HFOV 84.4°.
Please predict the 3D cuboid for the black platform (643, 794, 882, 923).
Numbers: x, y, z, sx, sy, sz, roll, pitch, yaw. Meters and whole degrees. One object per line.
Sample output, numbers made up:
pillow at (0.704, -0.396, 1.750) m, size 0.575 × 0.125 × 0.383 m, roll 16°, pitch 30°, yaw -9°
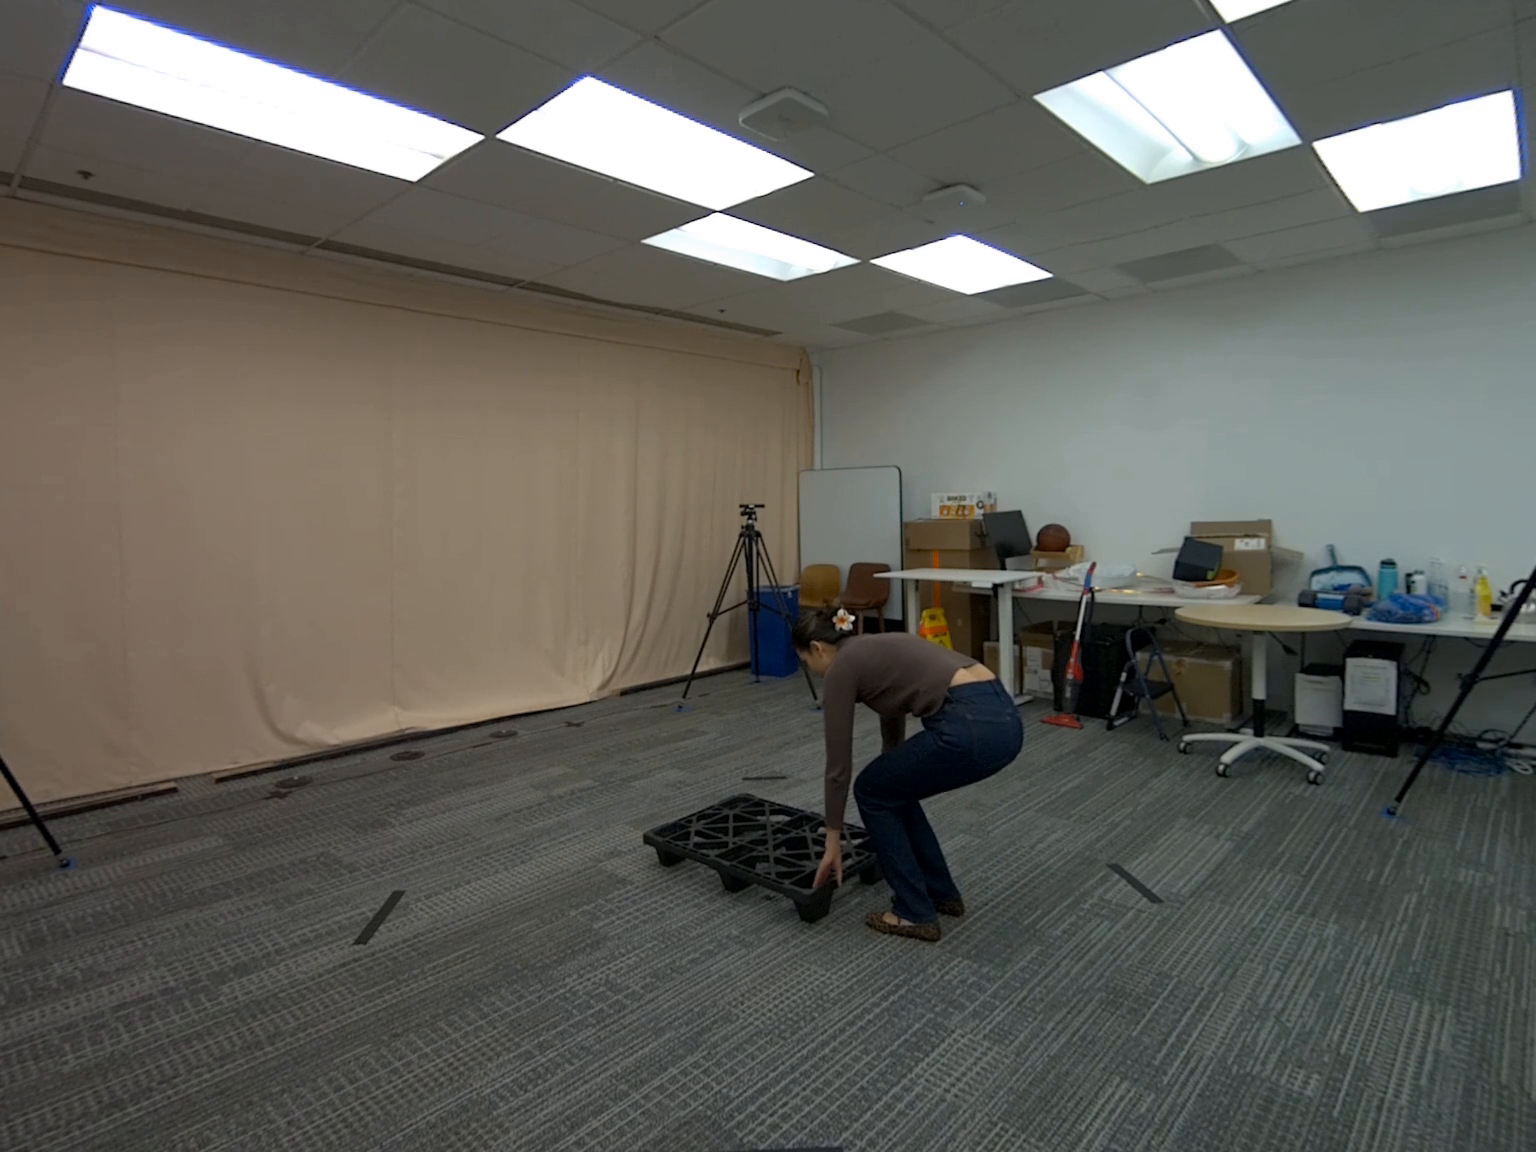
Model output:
black platform at (0.012, 1.054, 3.197) m, size 0.832 × 0.143 × 0.587 m, roll 3°, pitch 7°, yaw 41°
